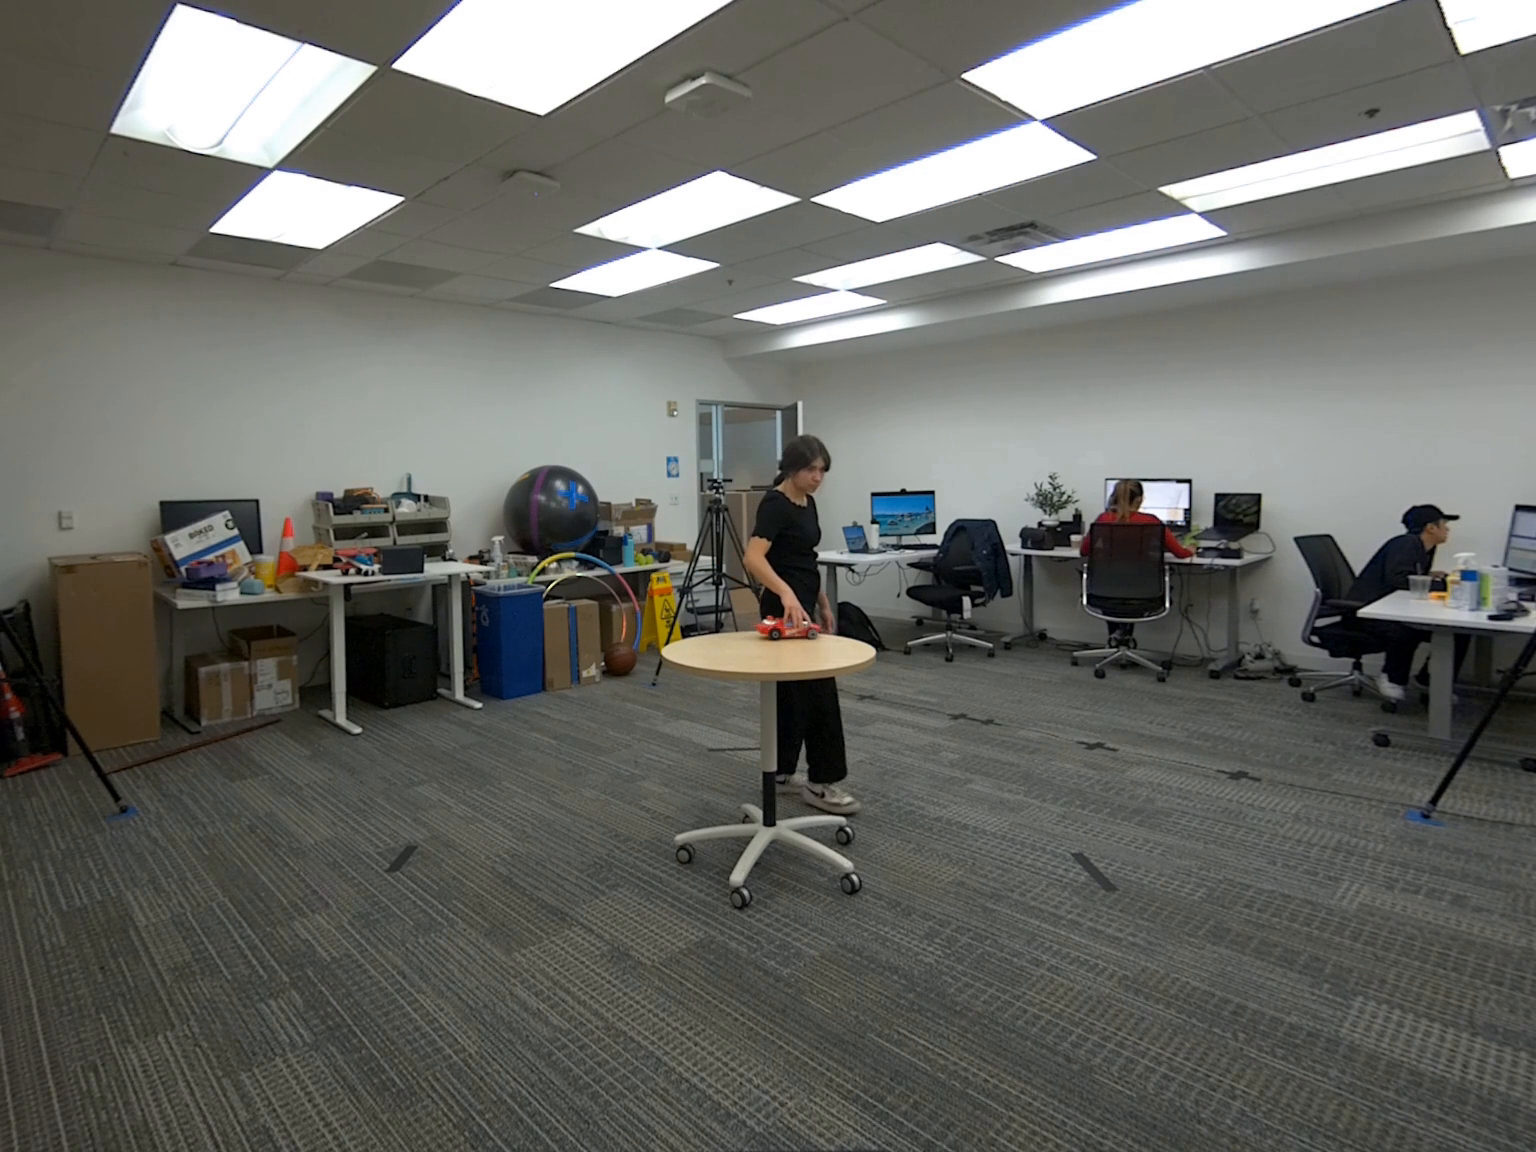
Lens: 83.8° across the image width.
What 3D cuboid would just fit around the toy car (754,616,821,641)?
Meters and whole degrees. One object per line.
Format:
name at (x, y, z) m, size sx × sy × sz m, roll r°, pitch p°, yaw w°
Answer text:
toy car at (0.069, 0.209, 3.293) m, size 0.252 × 0.083 × 0.132 m, roll 11°, pitch 3°, yaw -9°
